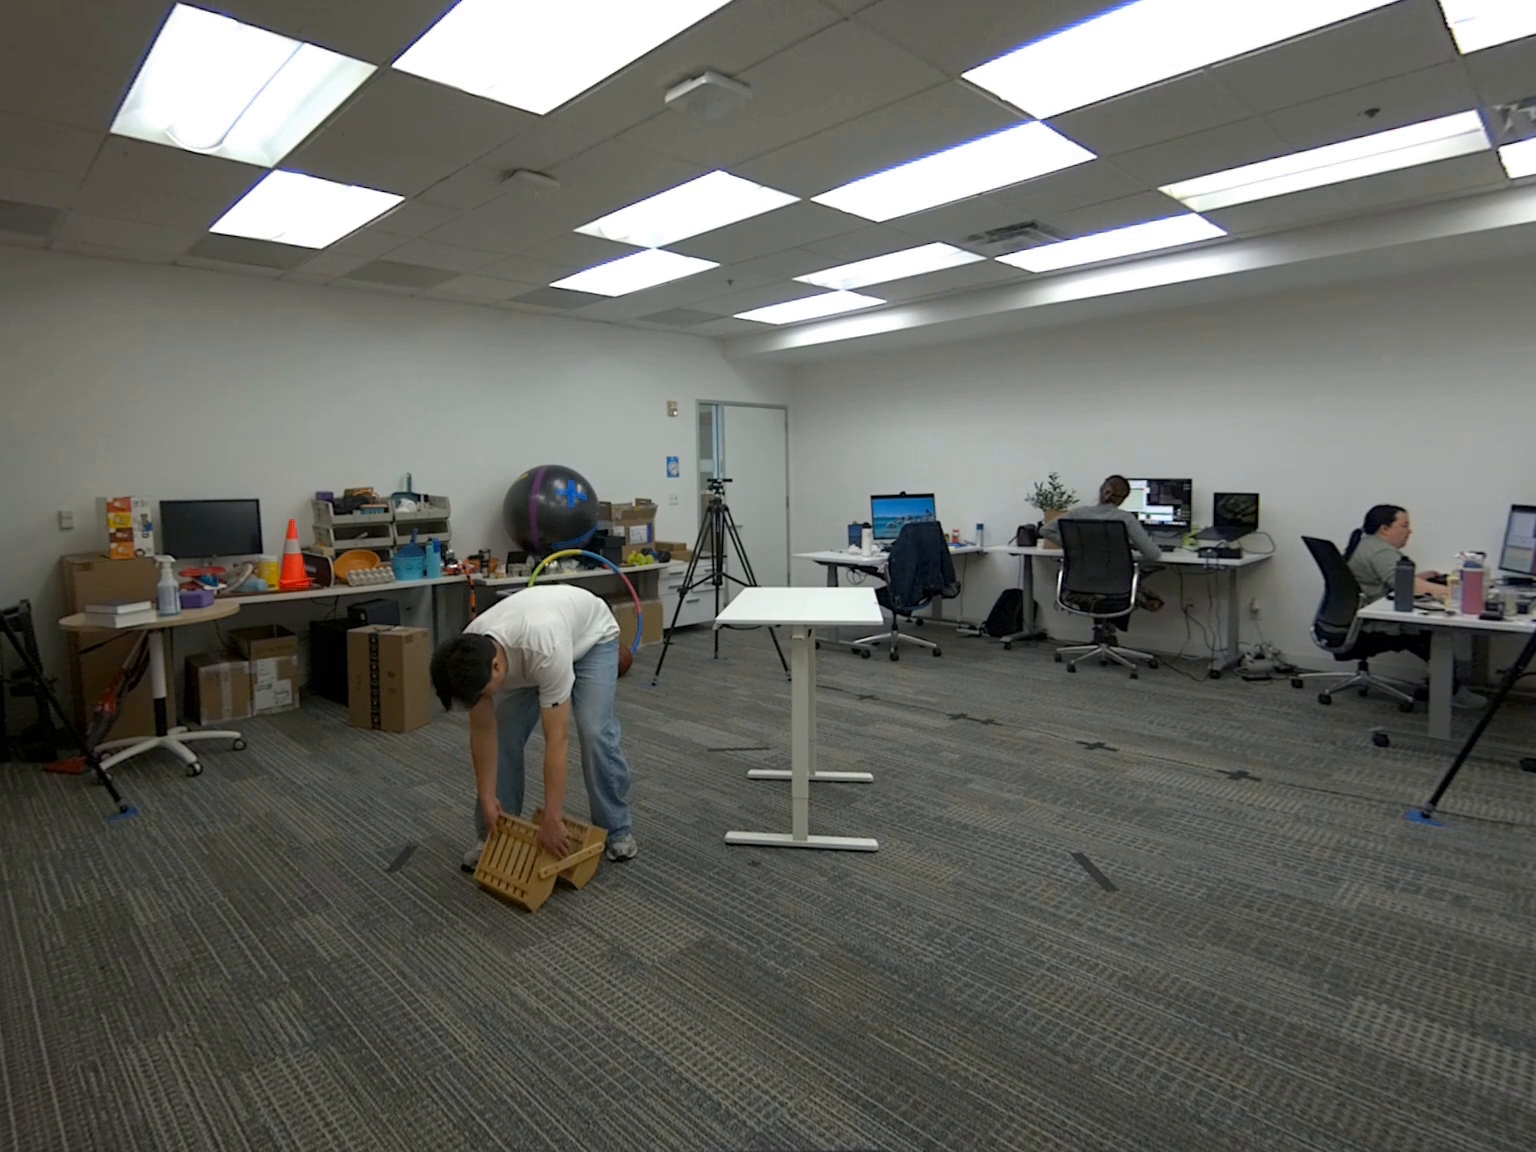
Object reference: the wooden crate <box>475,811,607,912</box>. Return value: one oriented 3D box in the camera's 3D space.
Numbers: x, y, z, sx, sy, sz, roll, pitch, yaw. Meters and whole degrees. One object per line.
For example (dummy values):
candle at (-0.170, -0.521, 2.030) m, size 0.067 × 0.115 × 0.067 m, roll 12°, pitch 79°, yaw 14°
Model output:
wooden crate at (-0.795, 0.979, 2.988) m, size 0.334 × 0.305 × 0.263 m, roll 3°, pitch -22°, yaw 40°
